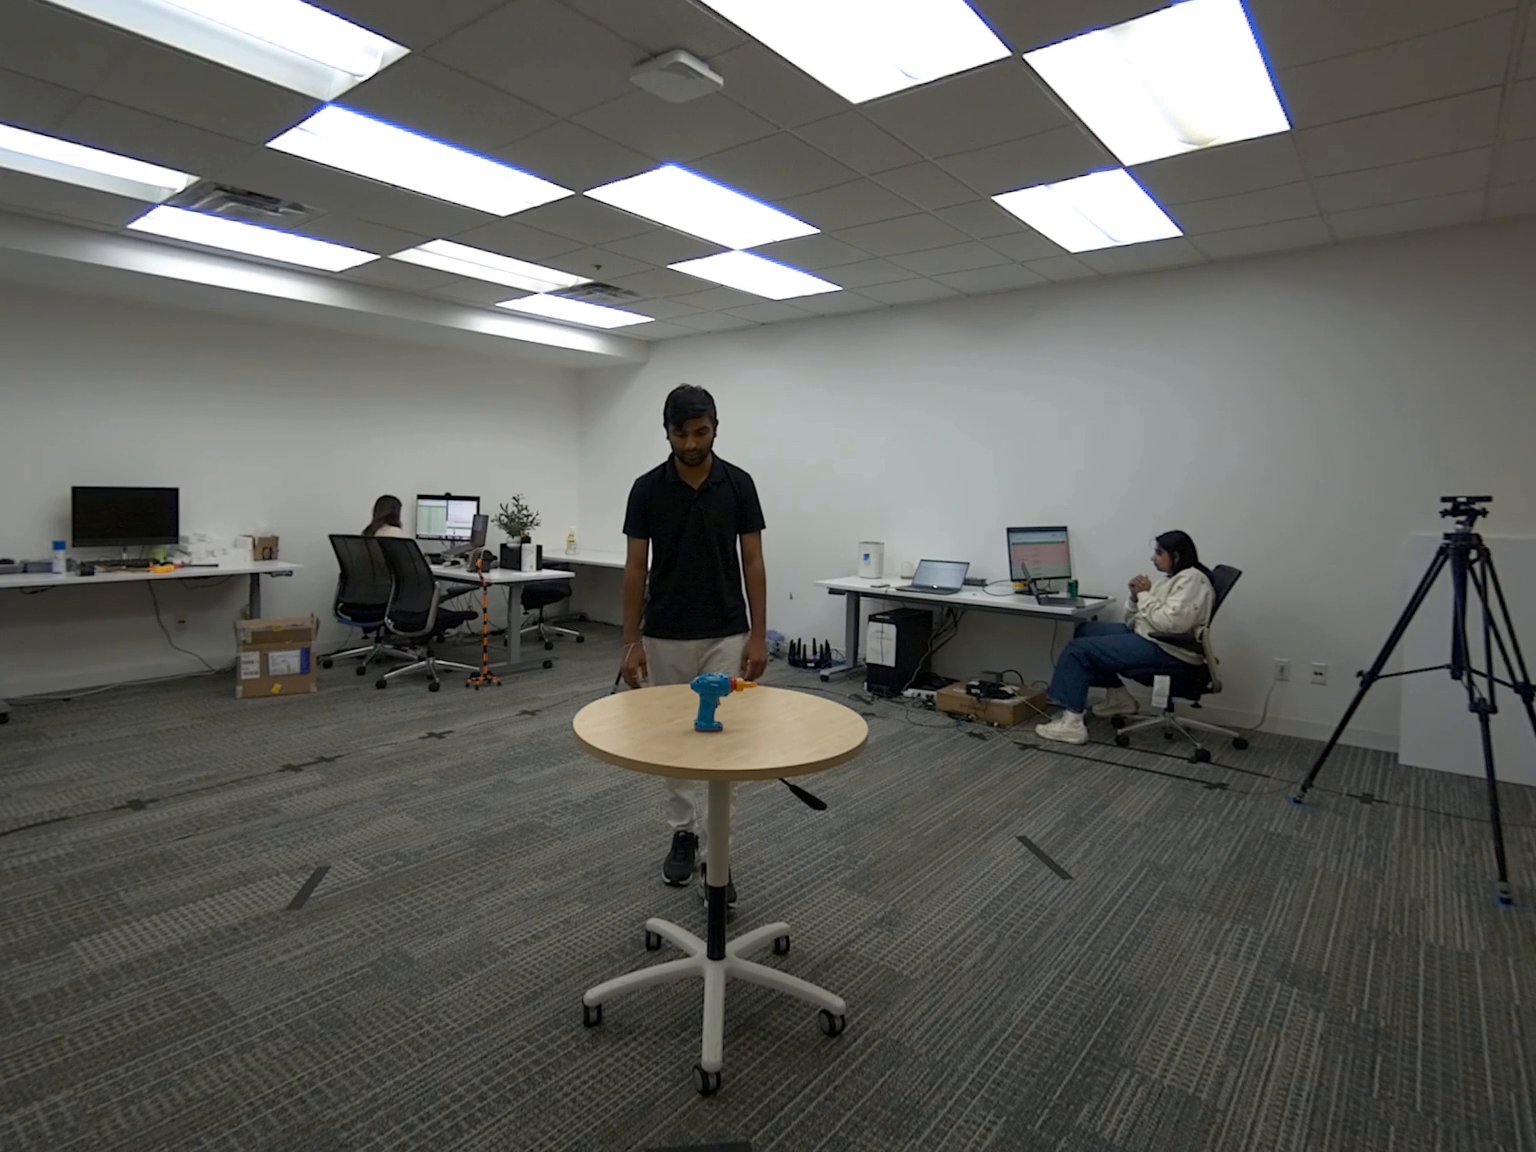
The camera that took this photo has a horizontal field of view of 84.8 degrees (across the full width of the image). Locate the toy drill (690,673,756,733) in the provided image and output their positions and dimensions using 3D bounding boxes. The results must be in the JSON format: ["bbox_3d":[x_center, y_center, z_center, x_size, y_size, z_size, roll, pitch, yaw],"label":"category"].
[{"bbox_3d":[-0.117,0.309,2.143,0.168,0.145,0.062,0,4,-11],"label":"toy drill"}]
